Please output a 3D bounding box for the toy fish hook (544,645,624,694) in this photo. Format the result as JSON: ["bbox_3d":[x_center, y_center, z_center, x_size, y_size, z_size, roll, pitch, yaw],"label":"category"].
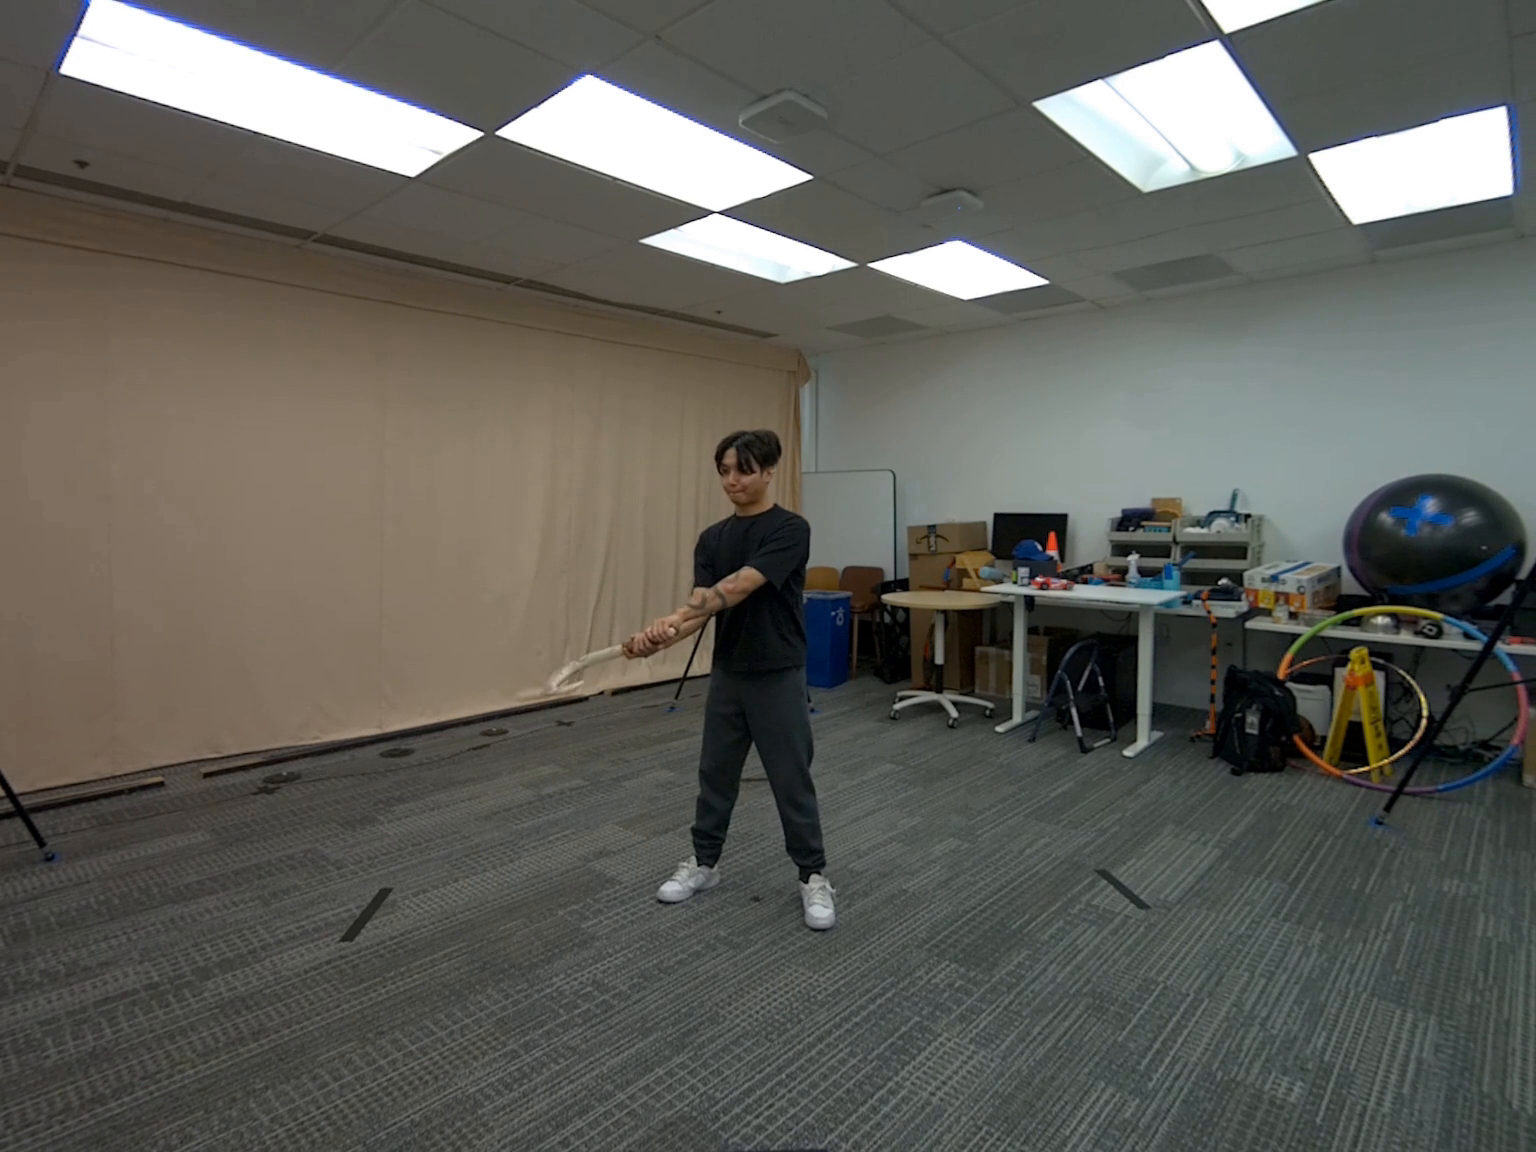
[{"bbox_3d":[-0.490,0.270,2.669,0.515,0.047,0.224,-22,20,26],"label":"toy fish hook"}]
